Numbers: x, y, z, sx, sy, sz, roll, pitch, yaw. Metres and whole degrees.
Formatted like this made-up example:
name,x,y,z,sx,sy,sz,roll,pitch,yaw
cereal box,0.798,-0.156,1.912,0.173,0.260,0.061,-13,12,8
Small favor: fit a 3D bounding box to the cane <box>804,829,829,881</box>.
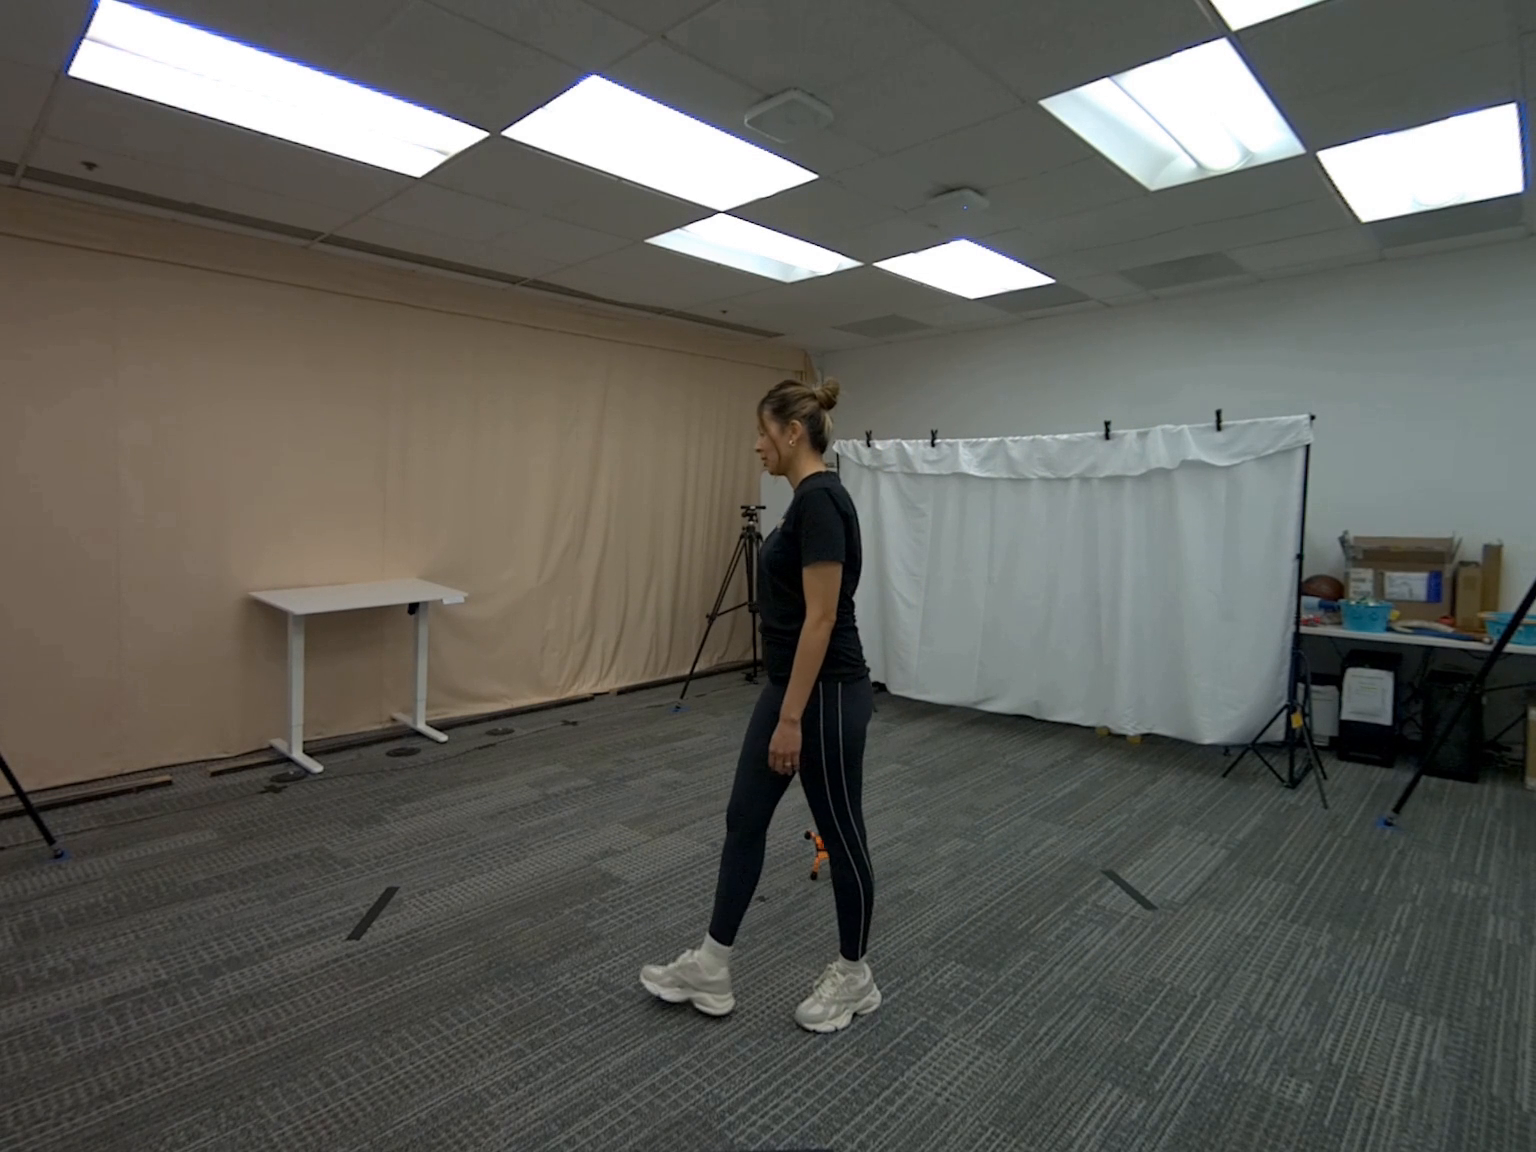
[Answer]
name,x,y,z,sx,sy,sz,roll,pitch,yaw
cane,0.246,0.712,2.963,0.151,0.893,0.211,-2,35,-7
